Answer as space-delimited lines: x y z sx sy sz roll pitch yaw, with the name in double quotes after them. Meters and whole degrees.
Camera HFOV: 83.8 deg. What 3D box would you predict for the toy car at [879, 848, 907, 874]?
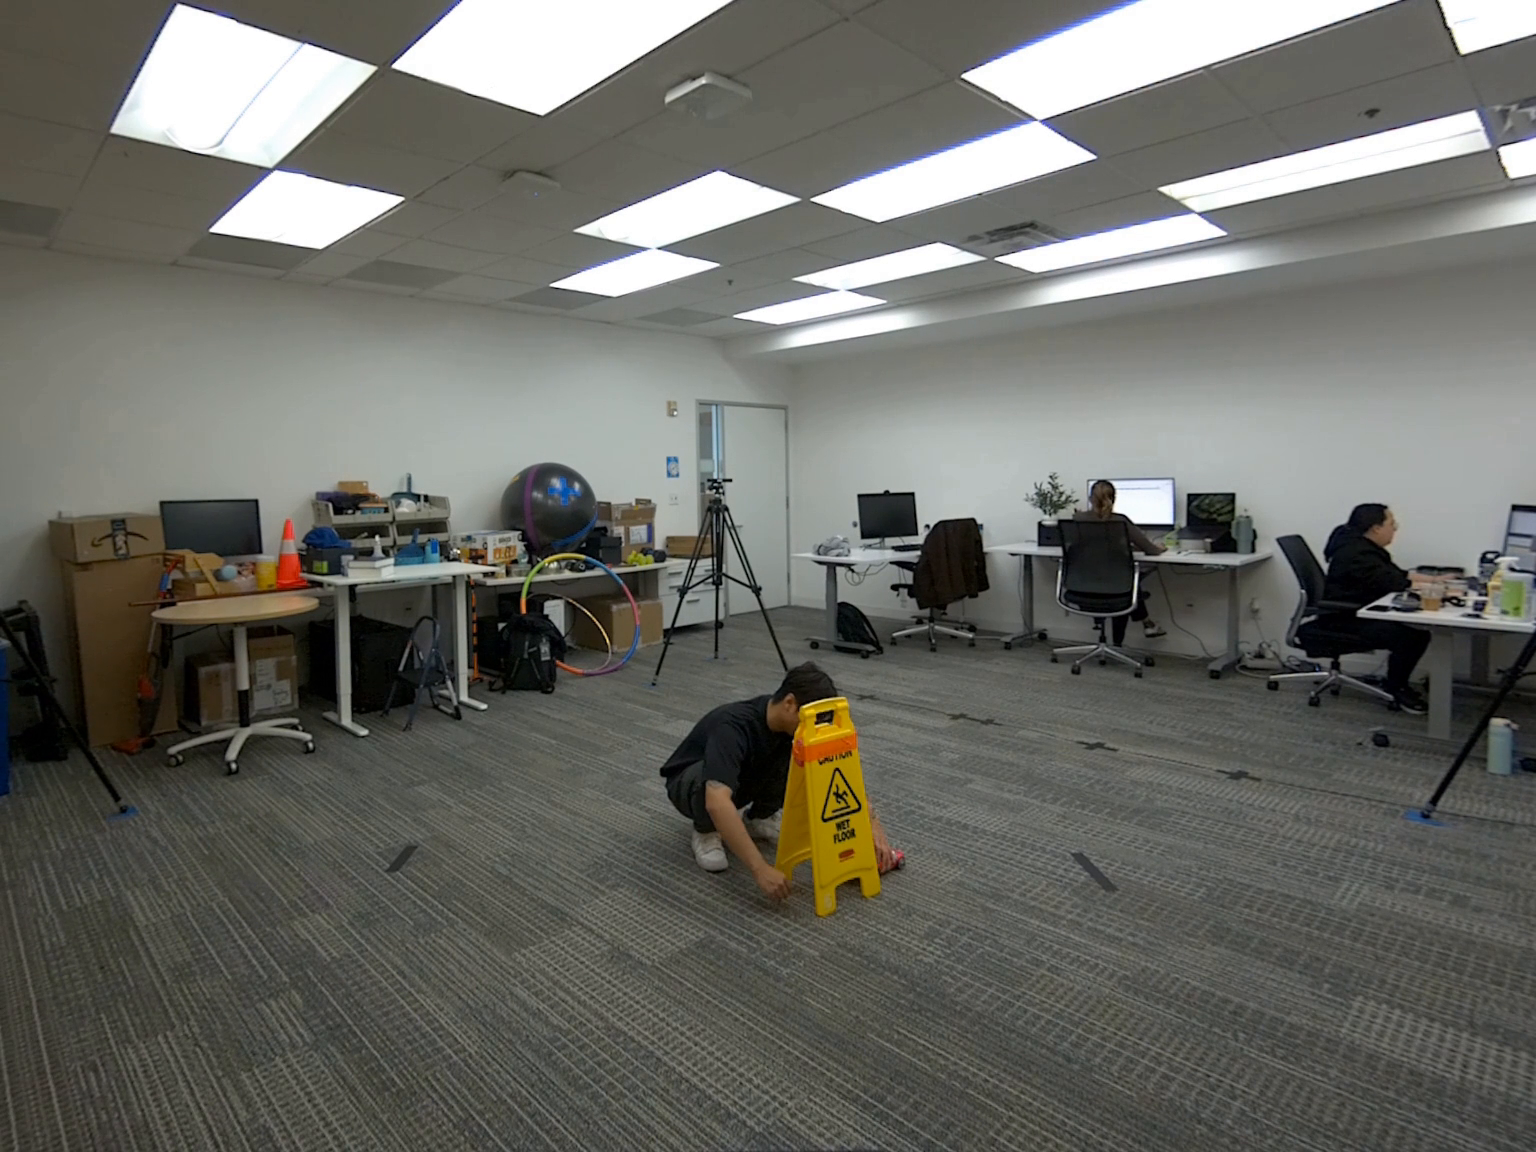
0.372 1.012 3.014 0.246 0.083 0.134 9 -1 -41 "toy car"
